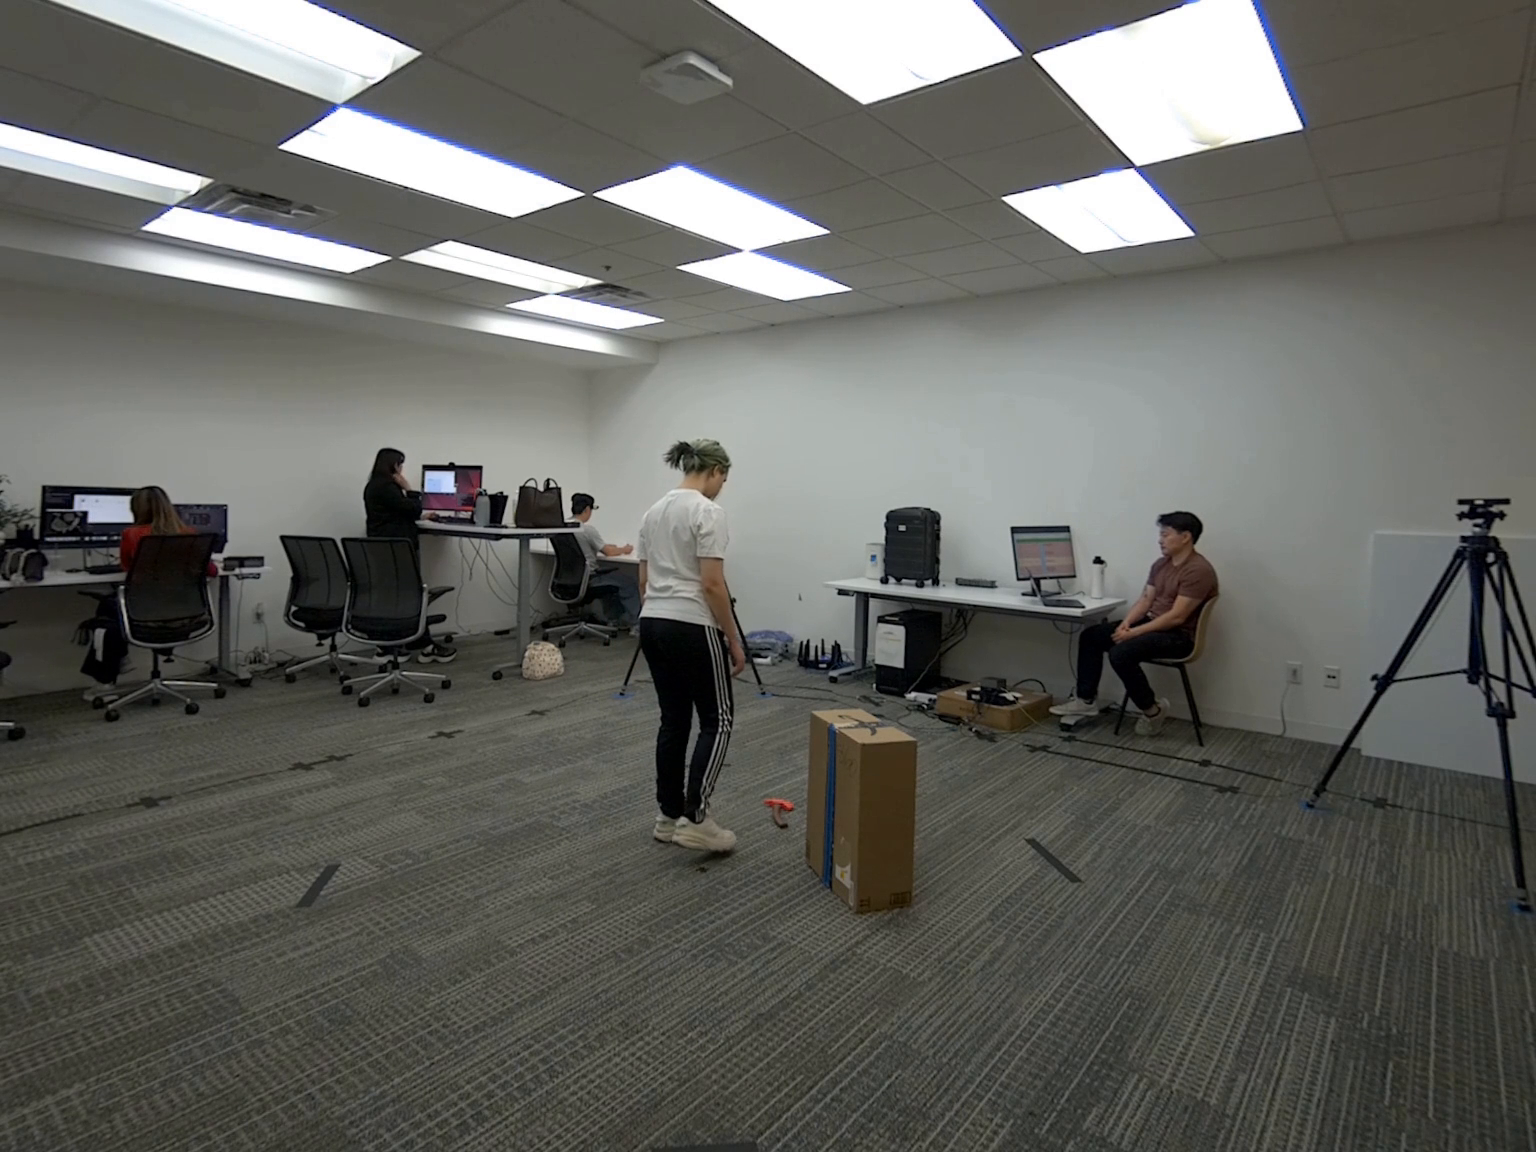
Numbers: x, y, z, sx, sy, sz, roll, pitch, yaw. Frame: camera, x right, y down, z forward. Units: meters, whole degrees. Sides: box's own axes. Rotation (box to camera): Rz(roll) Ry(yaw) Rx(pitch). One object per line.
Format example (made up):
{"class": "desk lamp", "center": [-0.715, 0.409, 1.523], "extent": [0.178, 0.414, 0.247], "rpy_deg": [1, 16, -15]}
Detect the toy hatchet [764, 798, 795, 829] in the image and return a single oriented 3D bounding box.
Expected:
{"class": "toy hatchet", "center": [0.064, 1.012, 3.638], "extent": [0.129, 0.029, 0.275], "rpy_deg": [3, 7, -14]}
